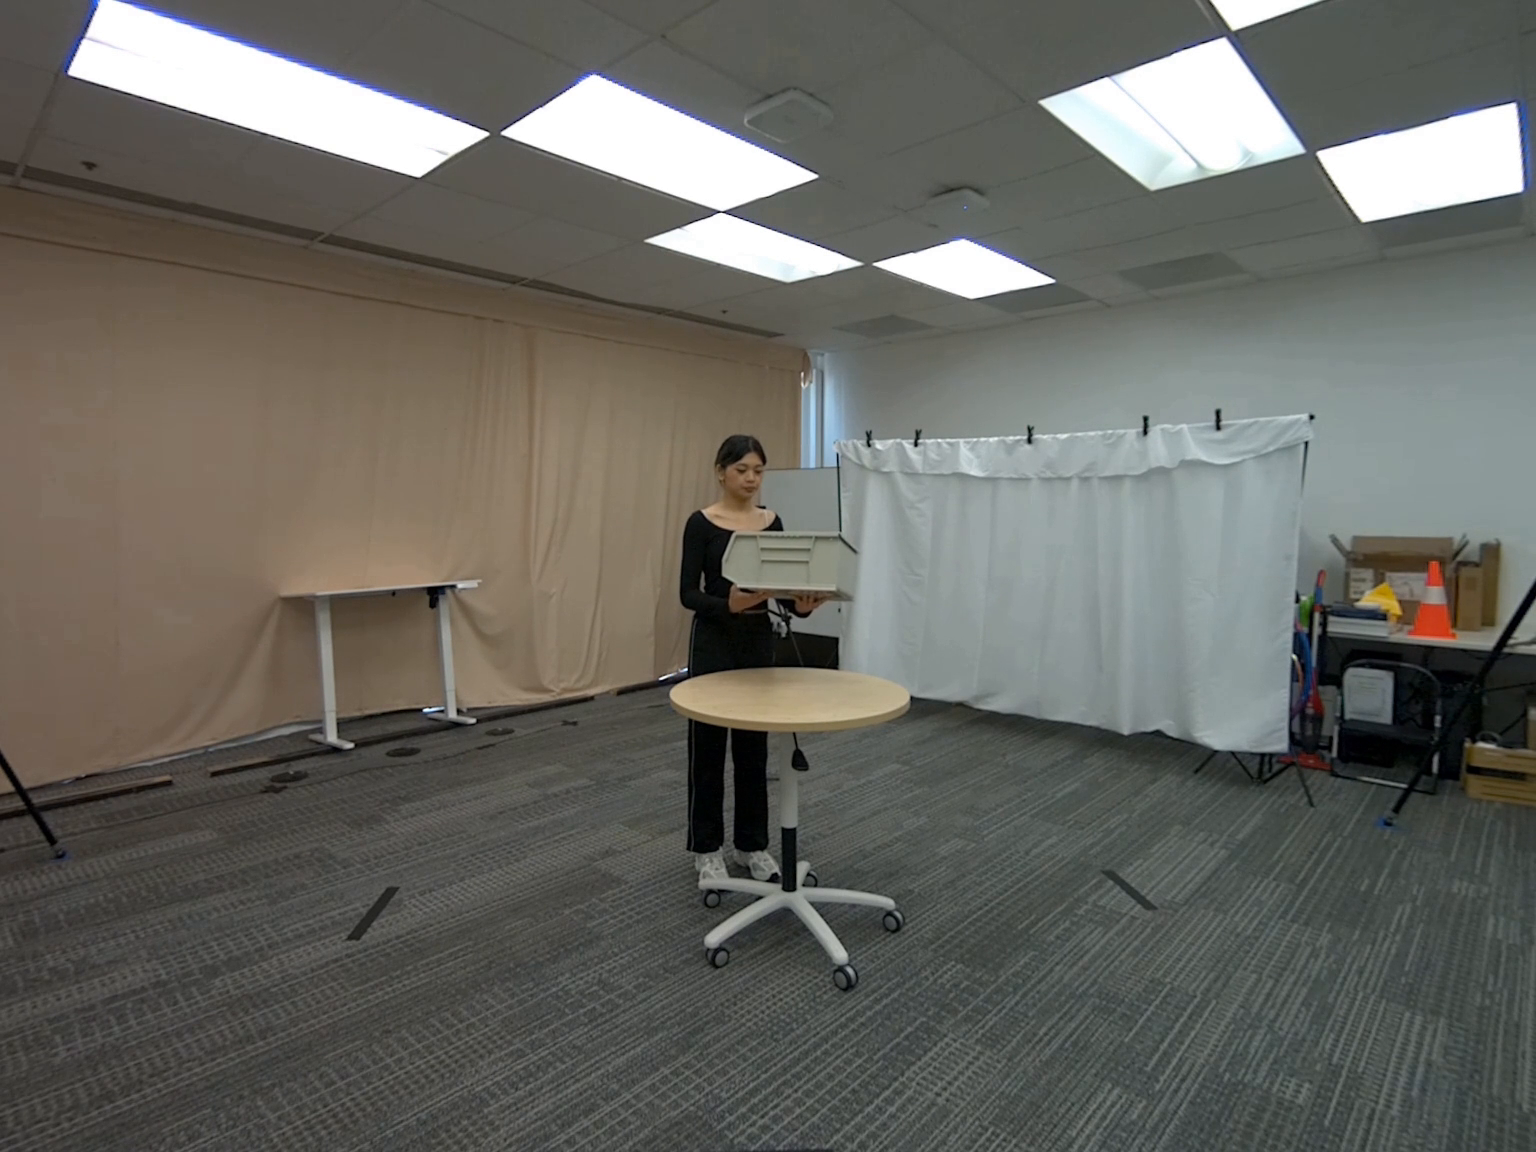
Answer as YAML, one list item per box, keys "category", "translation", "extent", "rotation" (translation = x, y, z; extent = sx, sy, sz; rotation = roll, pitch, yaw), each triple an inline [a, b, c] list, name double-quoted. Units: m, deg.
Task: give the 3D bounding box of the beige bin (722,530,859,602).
- category: "beige bin"
  translation: [0.097, -0.025, 2.809]
  extent: [0.385, 0.190, 0.412]
  rotation: [3, -7, 17]
